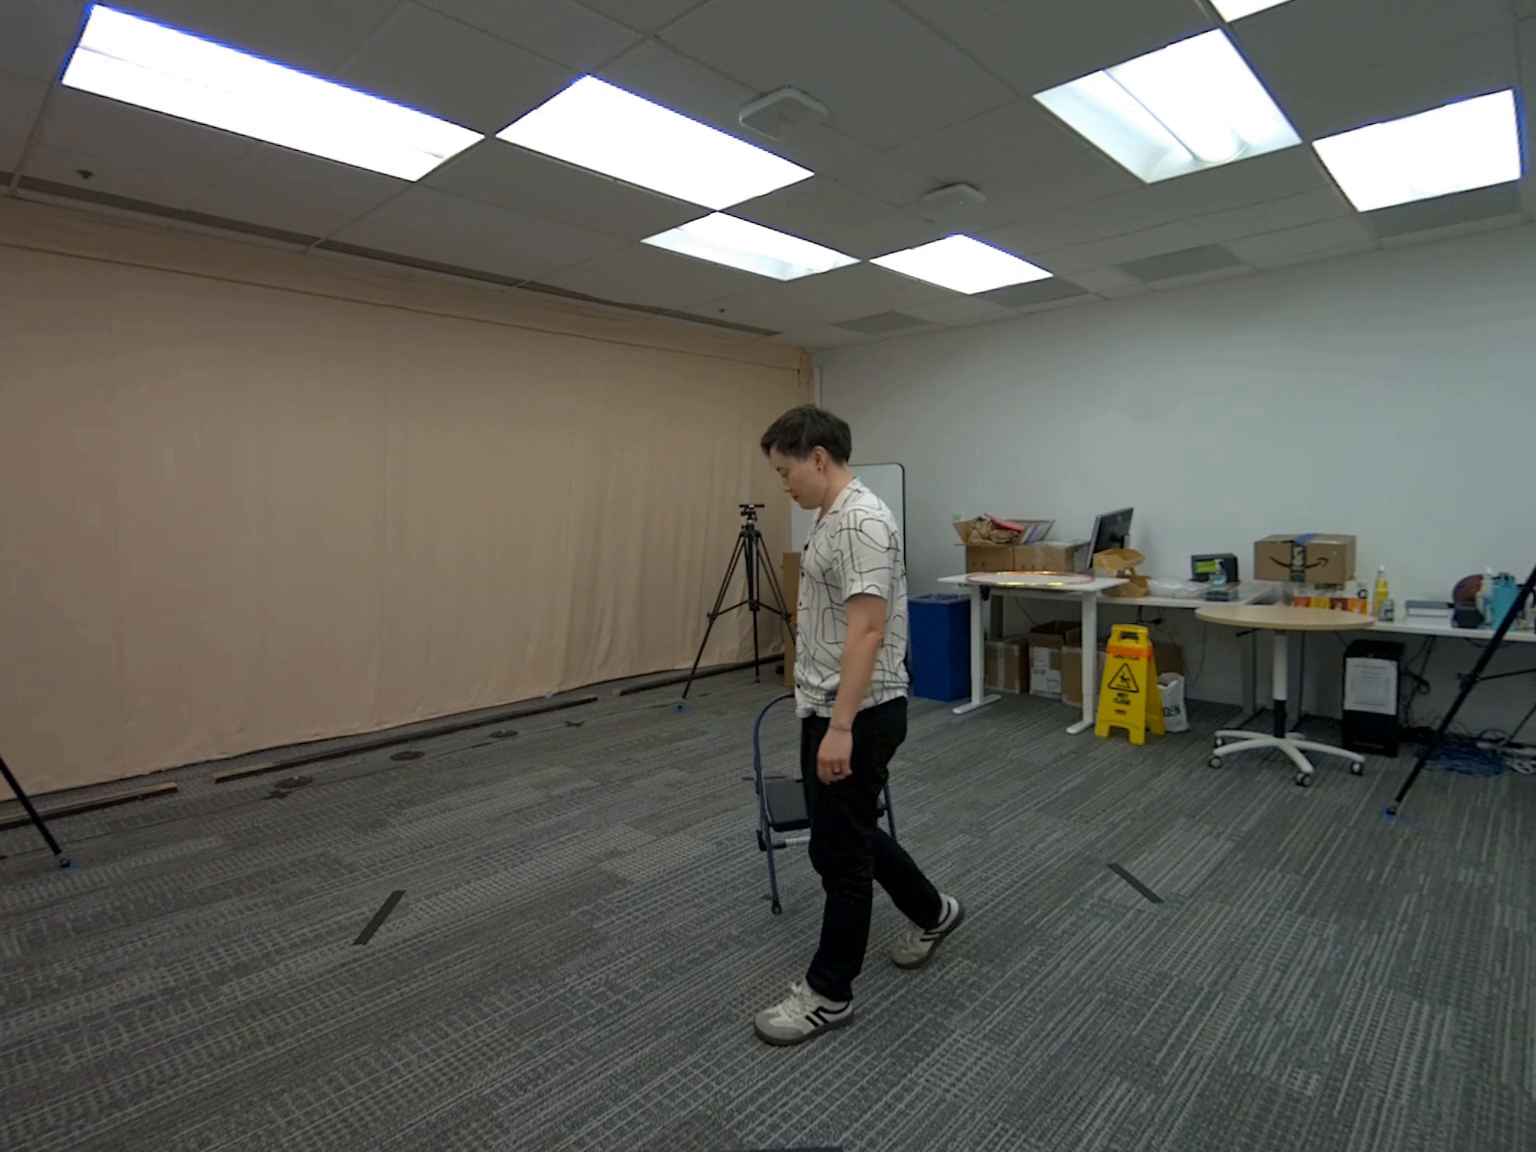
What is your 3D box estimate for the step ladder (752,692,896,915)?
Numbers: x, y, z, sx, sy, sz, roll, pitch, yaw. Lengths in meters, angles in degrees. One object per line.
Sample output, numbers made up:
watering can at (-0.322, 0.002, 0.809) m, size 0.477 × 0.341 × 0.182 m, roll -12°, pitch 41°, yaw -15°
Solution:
step ladder at (0.177, 0.675, 2.677) m, size 0.428 × 0.600 × 0.355 m, roll -6°, pitch 14°, yaw -6°
